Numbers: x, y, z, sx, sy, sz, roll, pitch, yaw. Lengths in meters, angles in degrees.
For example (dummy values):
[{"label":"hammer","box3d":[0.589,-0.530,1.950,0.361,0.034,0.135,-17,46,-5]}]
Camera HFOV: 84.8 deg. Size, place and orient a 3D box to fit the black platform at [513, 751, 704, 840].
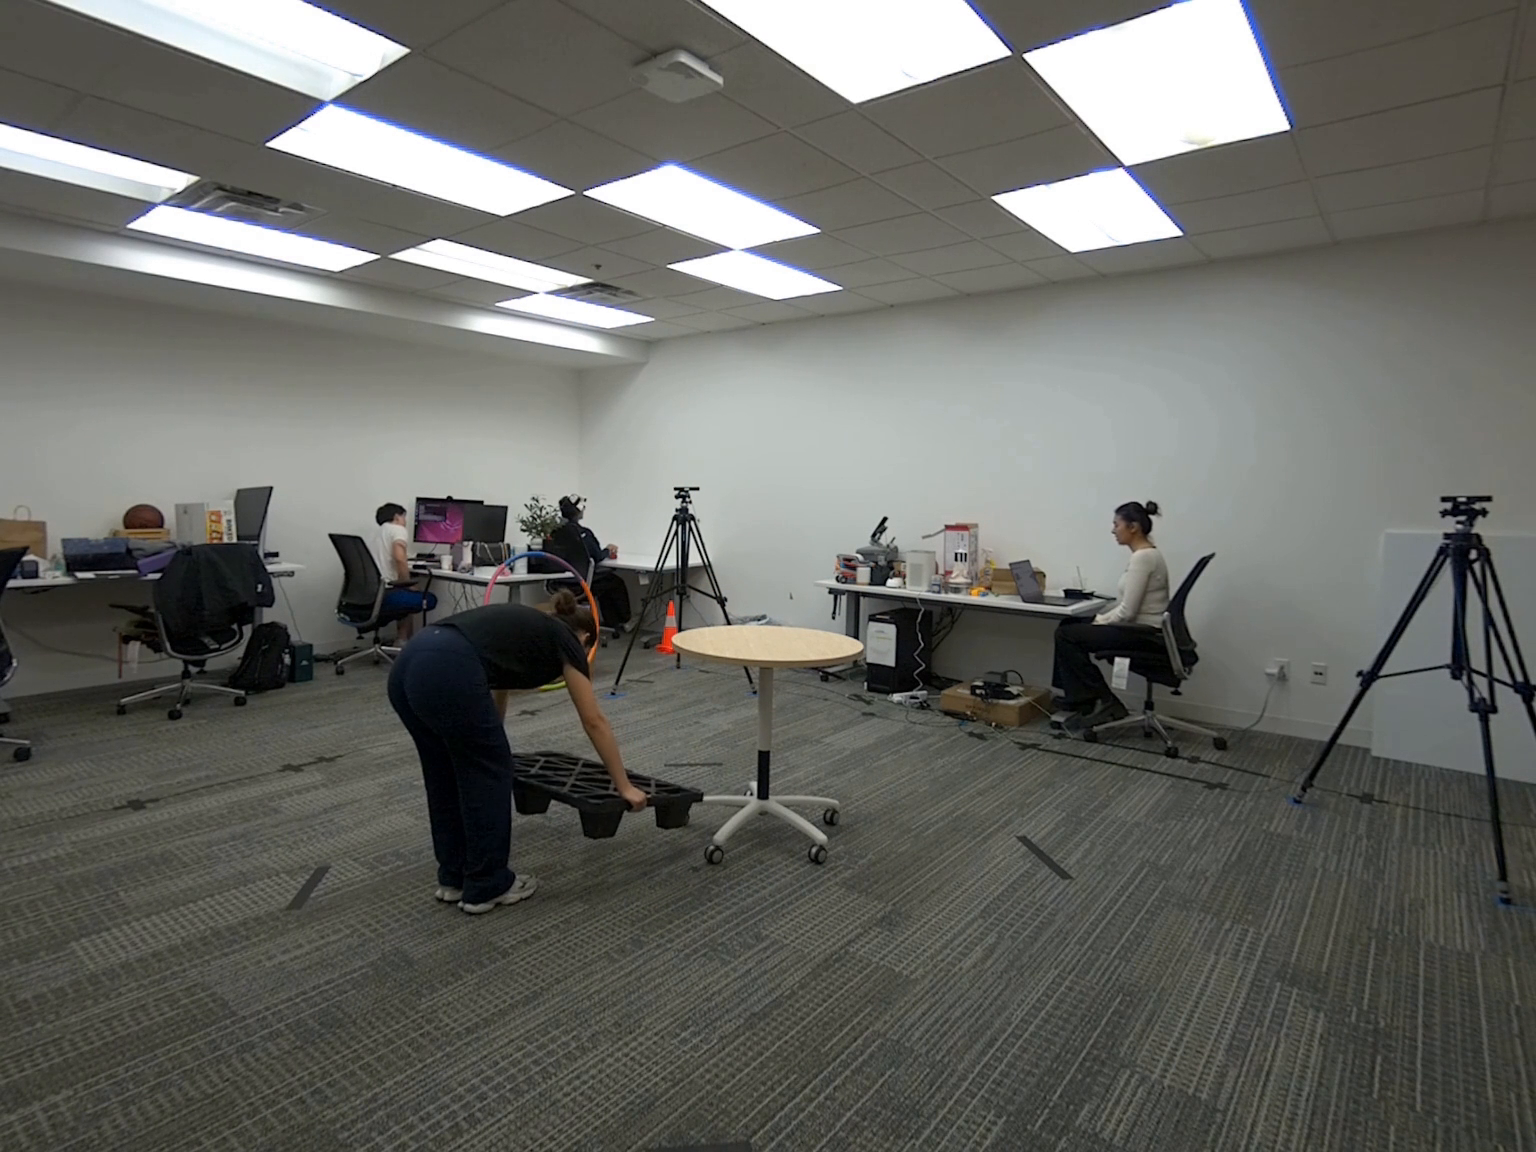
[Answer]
[{"label":"black platform","box3d":[-0.721,0.797,3.189,0.832,0.144,0.583,4,-6,37]}]
